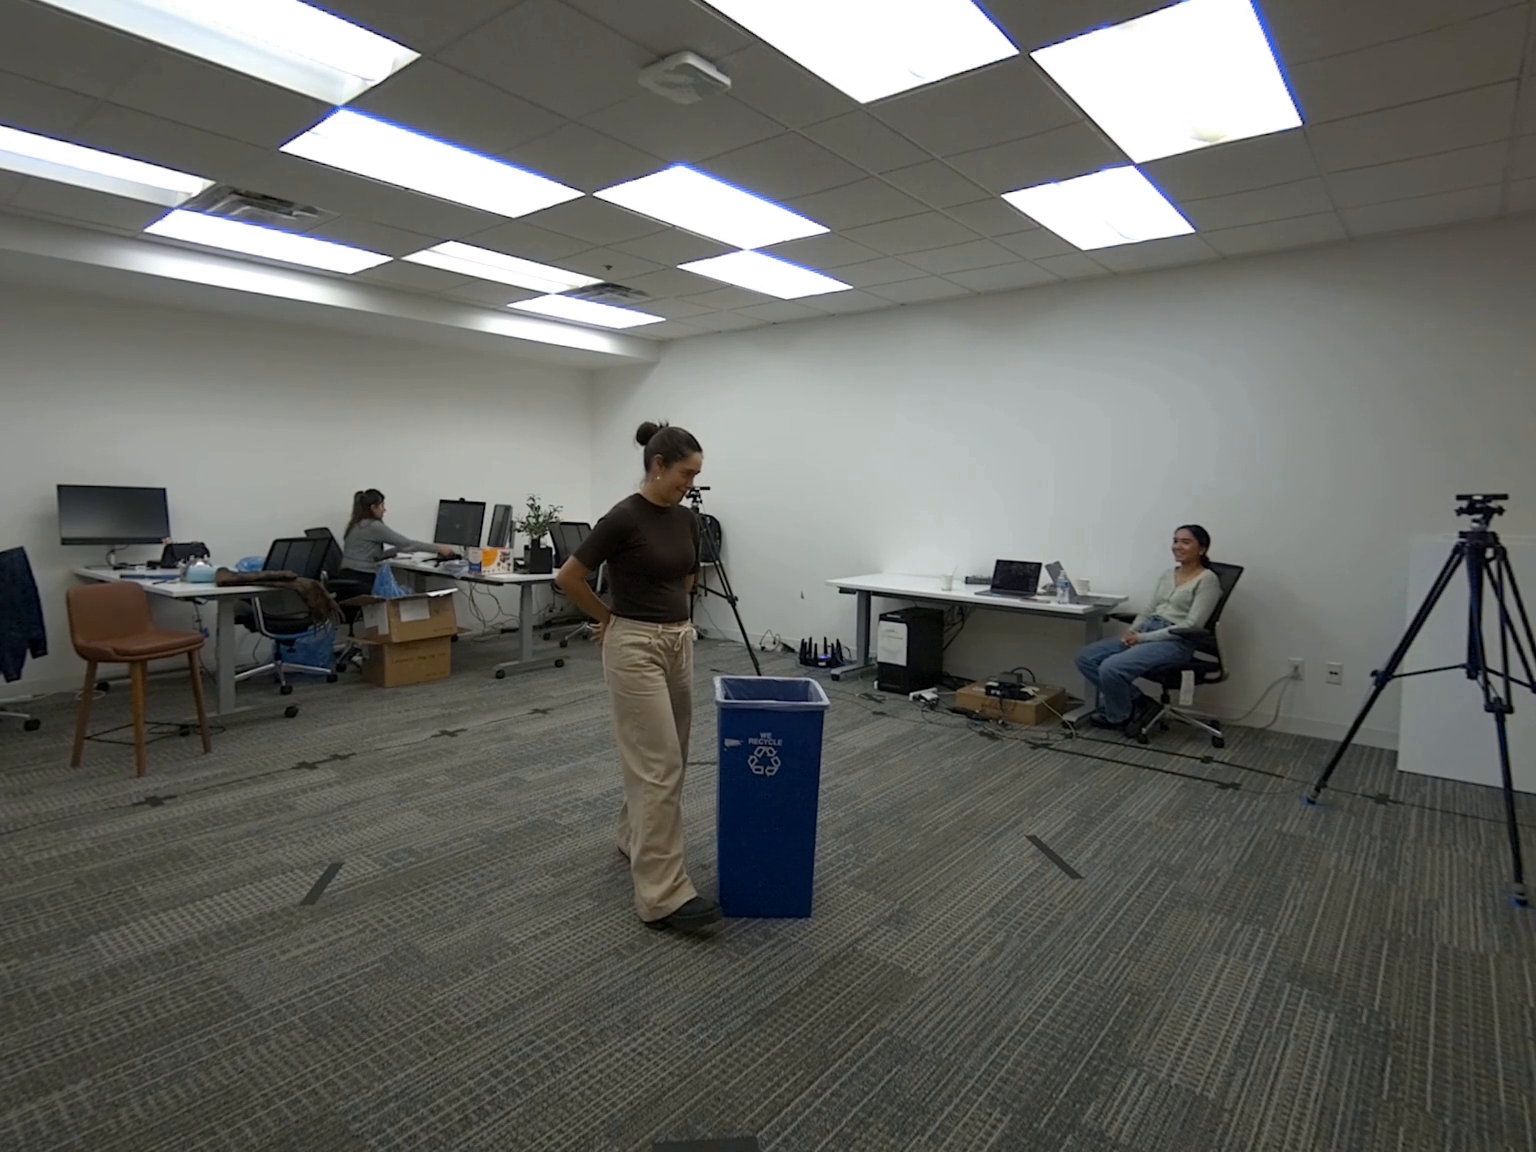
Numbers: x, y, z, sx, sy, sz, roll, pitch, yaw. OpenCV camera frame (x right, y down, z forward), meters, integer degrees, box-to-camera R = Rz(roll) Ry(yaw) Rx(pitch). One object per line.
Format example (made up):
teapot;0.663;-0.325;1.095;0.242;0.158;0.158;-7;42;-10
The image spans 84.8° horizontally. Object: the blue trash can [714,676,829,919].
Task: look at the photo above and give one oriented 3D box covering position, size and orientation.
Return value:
blue trash can;-0.013;0.737;2.872;0.377;0.712;0.376;2;3;-4
